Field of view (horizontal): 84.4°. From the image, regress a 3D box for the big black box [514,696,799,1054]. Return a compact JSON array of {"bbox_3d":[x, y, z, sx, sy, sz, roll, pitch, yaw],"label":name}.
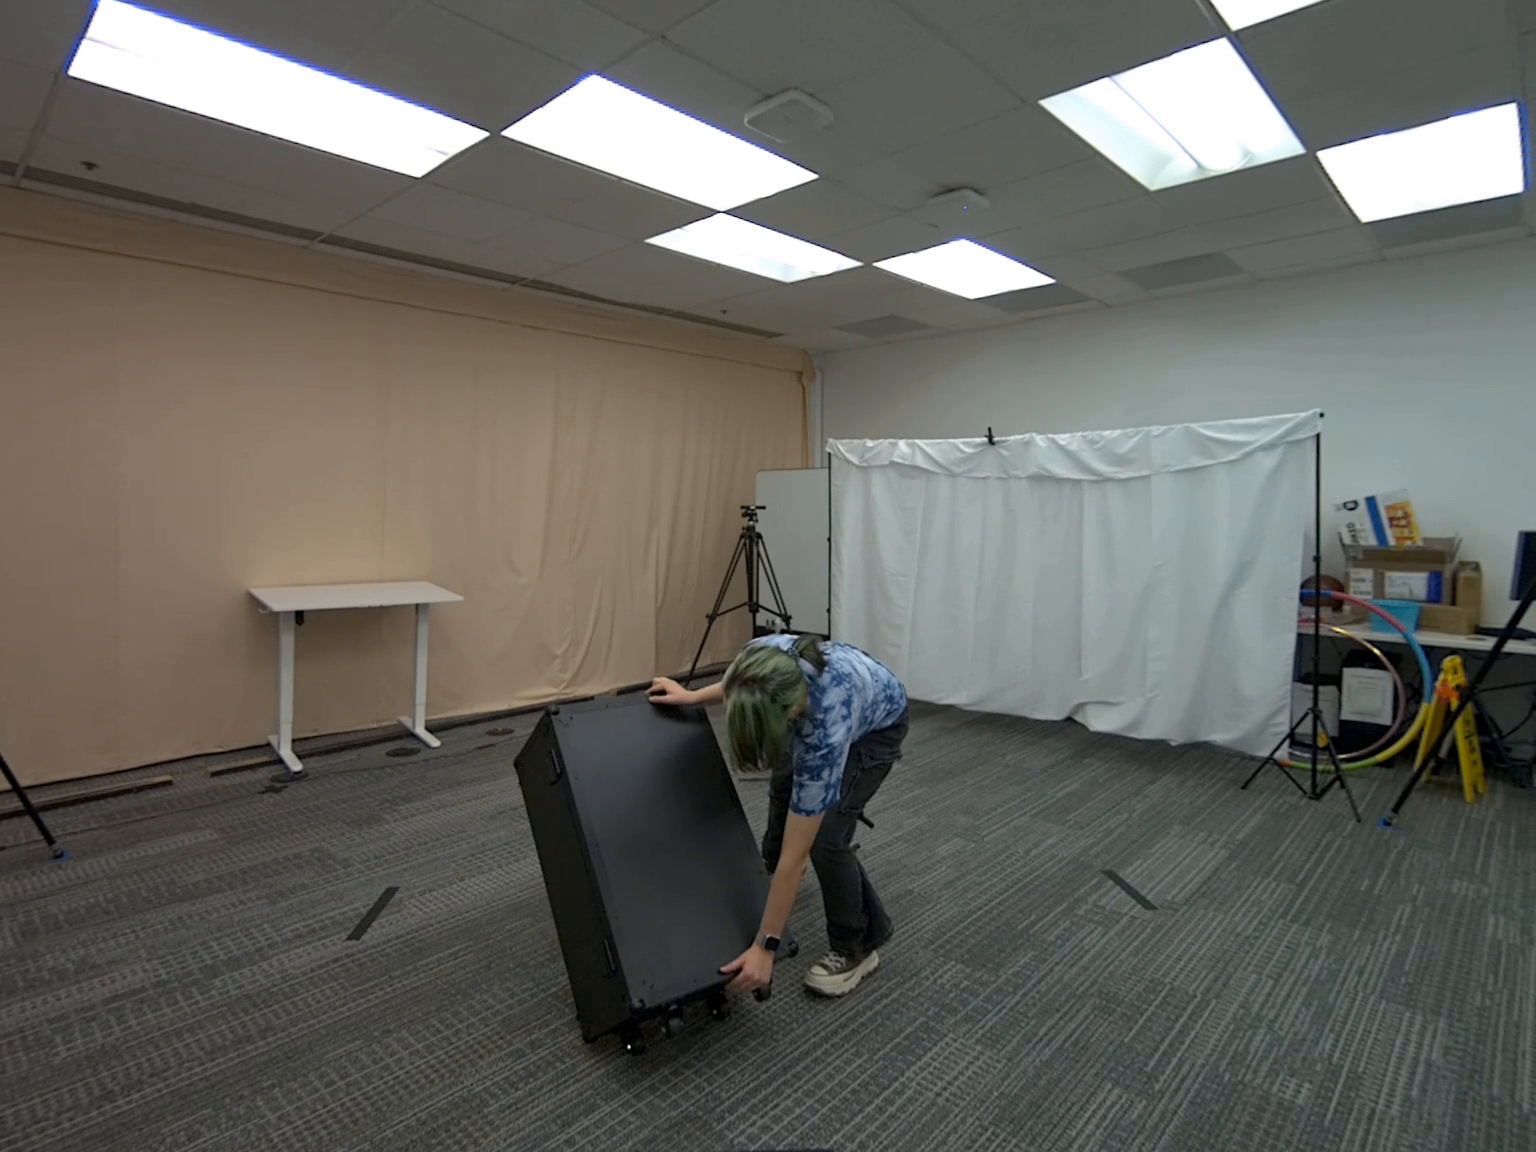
[{"bbox_3d":[-0.354,0.747,2.375,0.507,0.882,0.398,-3,-33,-33],"label":"big black box"}]
